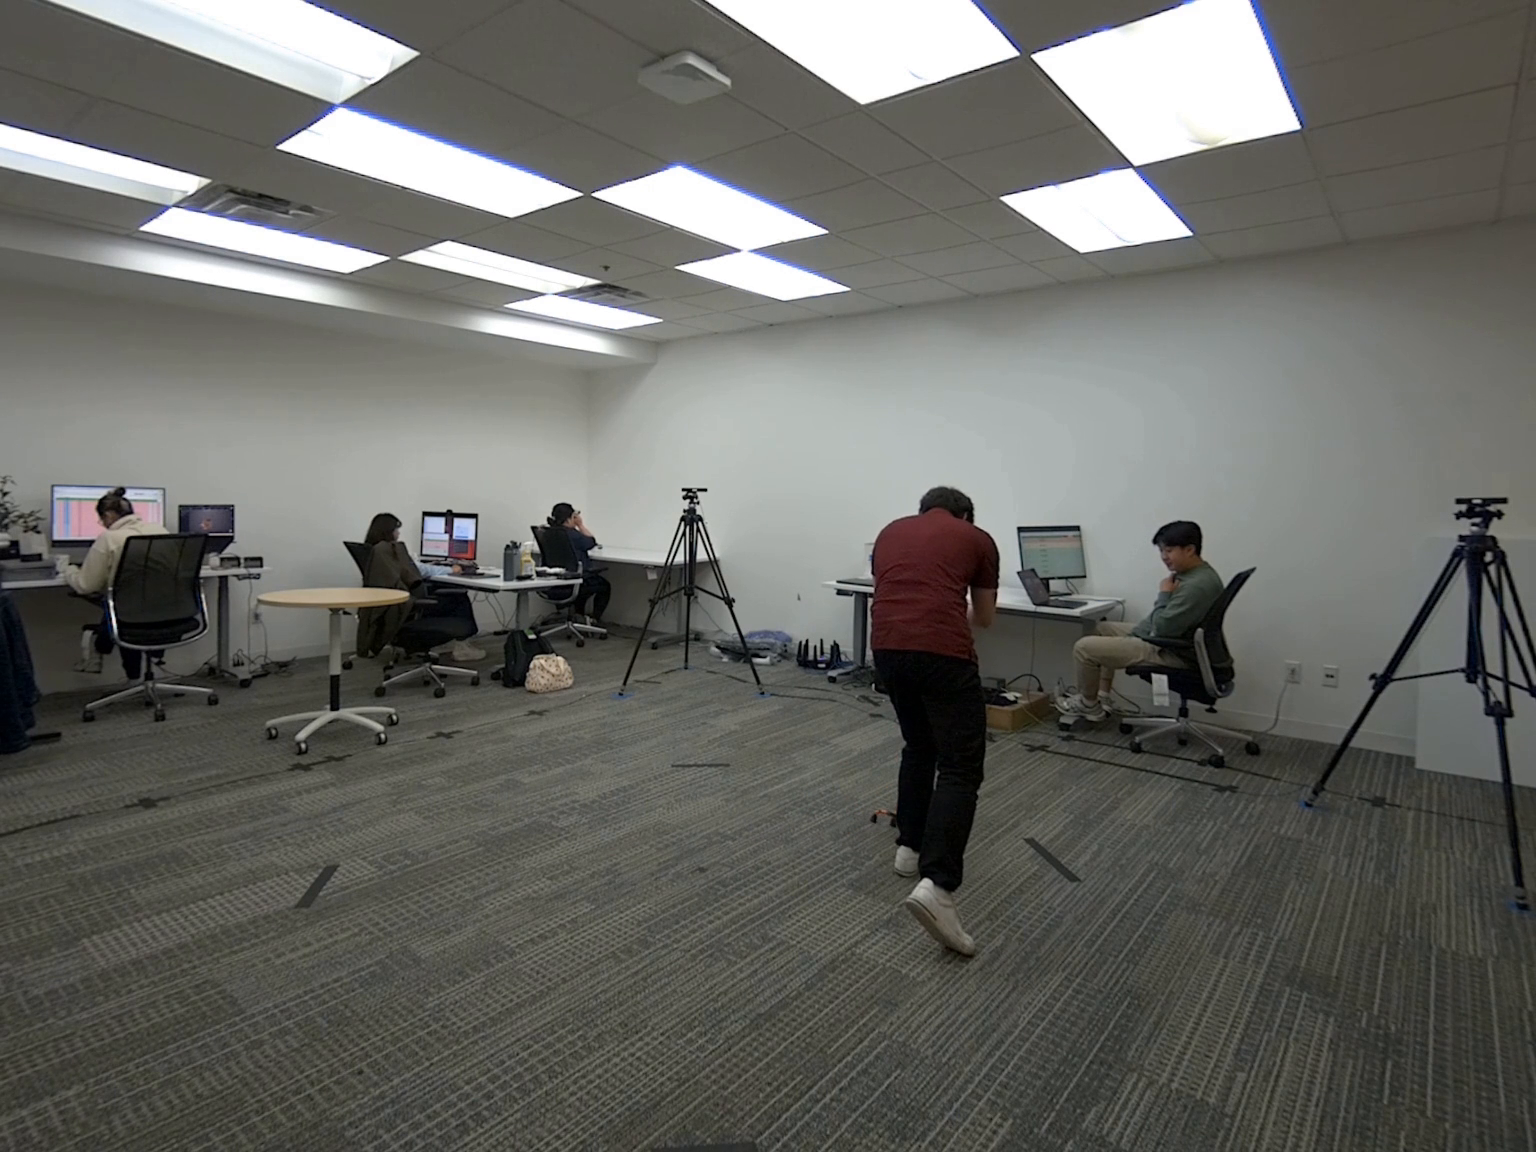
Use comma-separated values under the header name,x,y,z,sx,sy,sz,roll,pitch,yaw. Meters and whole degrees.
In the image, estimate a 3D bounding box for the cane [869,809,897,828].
name,x,y,z,sx,sy,sz,roll,pitch,yaw
cane,0.622,0.586,3.504,0.146,0.913,0.213,18,-10,-37
